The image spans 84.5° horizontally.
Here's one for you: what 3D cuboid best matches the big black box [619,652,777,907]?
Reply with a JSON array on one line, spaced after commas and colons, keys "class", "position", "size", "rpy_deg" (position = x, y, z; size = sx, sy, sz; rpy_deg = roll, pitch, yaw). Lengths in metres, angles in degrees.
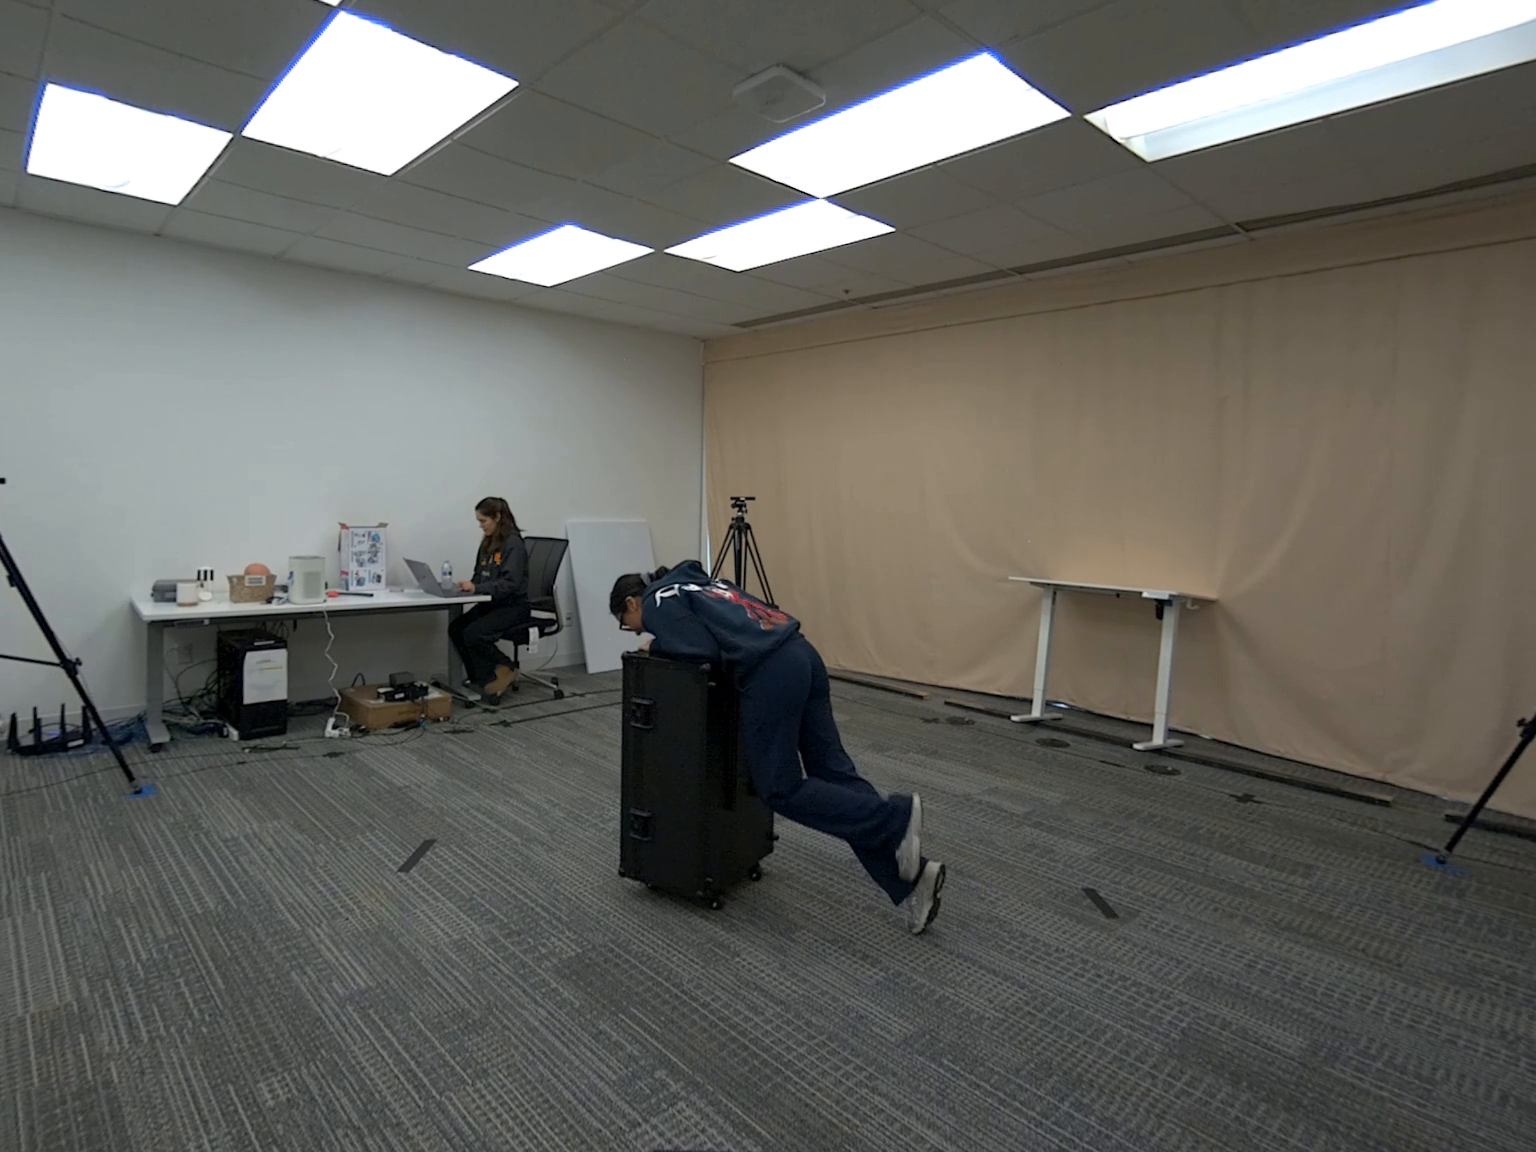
[{"class": "big black box", "position": [-0.234, 0.692, 3.029], "size": [0.405, 0.859, 0.511], "rpy_deg": [4, 4, 30]}]
